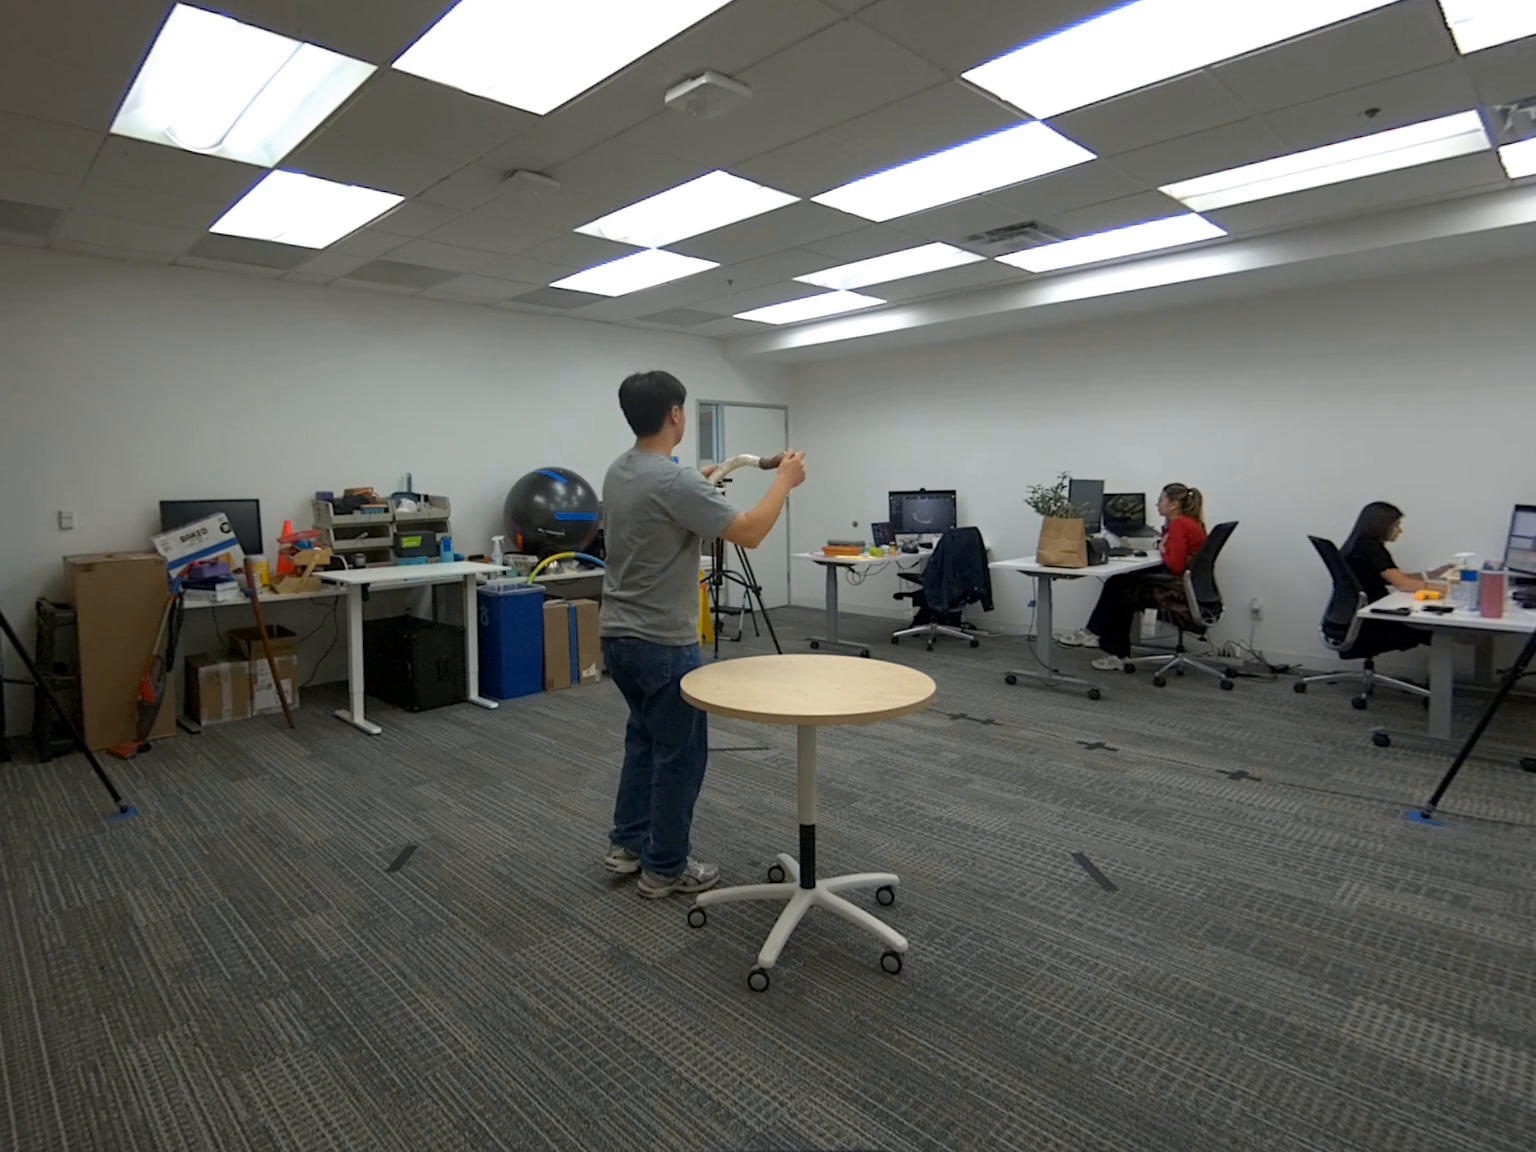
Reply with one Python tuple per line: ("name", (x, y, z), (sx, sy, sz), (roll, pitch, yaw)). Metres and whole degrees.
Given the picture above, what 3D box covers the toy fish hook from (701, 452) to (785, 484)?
("toy fish hook", (-0.076, -0.367, 3.062), (0.047, 0.225, 0.520), (45, -22, -26))
